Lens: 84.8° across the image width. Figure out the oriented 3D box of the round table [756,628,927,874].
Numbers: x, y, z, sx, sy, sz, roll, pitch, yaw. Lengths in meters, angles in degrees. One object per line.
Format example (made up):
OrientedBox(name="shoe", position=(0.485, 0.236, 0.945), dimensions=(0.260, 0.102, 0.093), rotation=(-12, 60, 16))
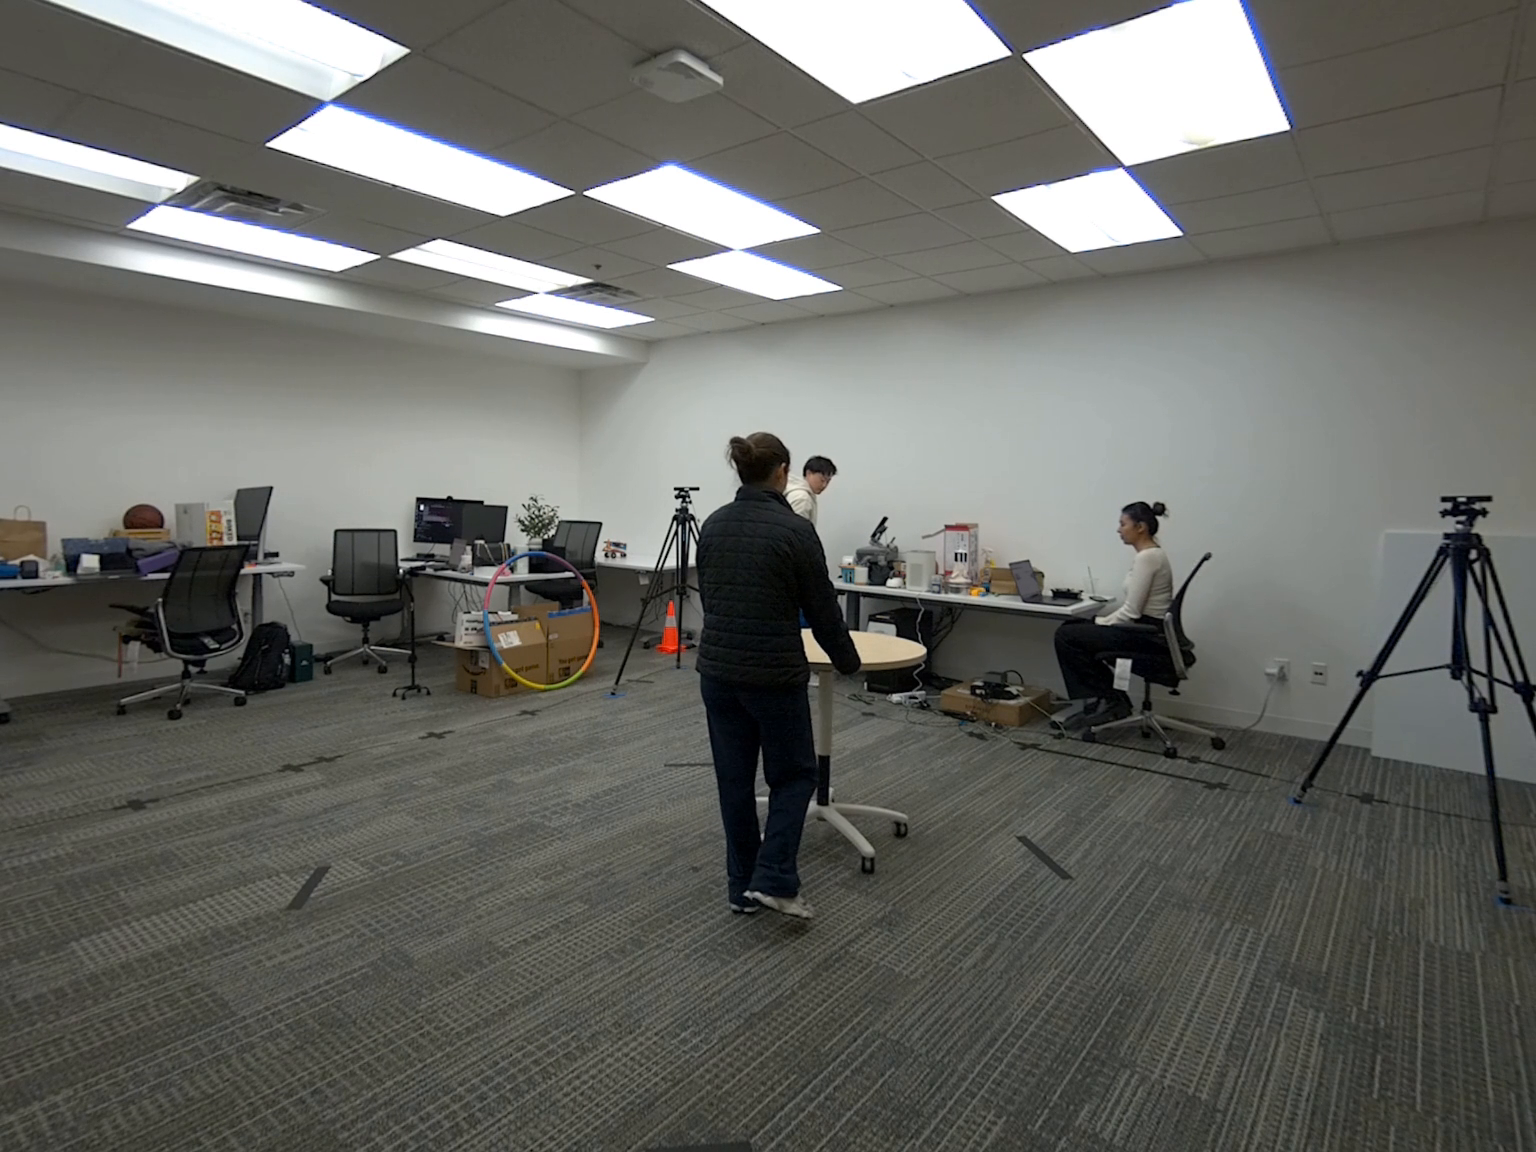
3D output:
OrientedBox(name="round table", position=(0.232, 0.652, 3.387), dimensions=(0.784, 0.784, 0.789), rotation=(1, 4, -2))
